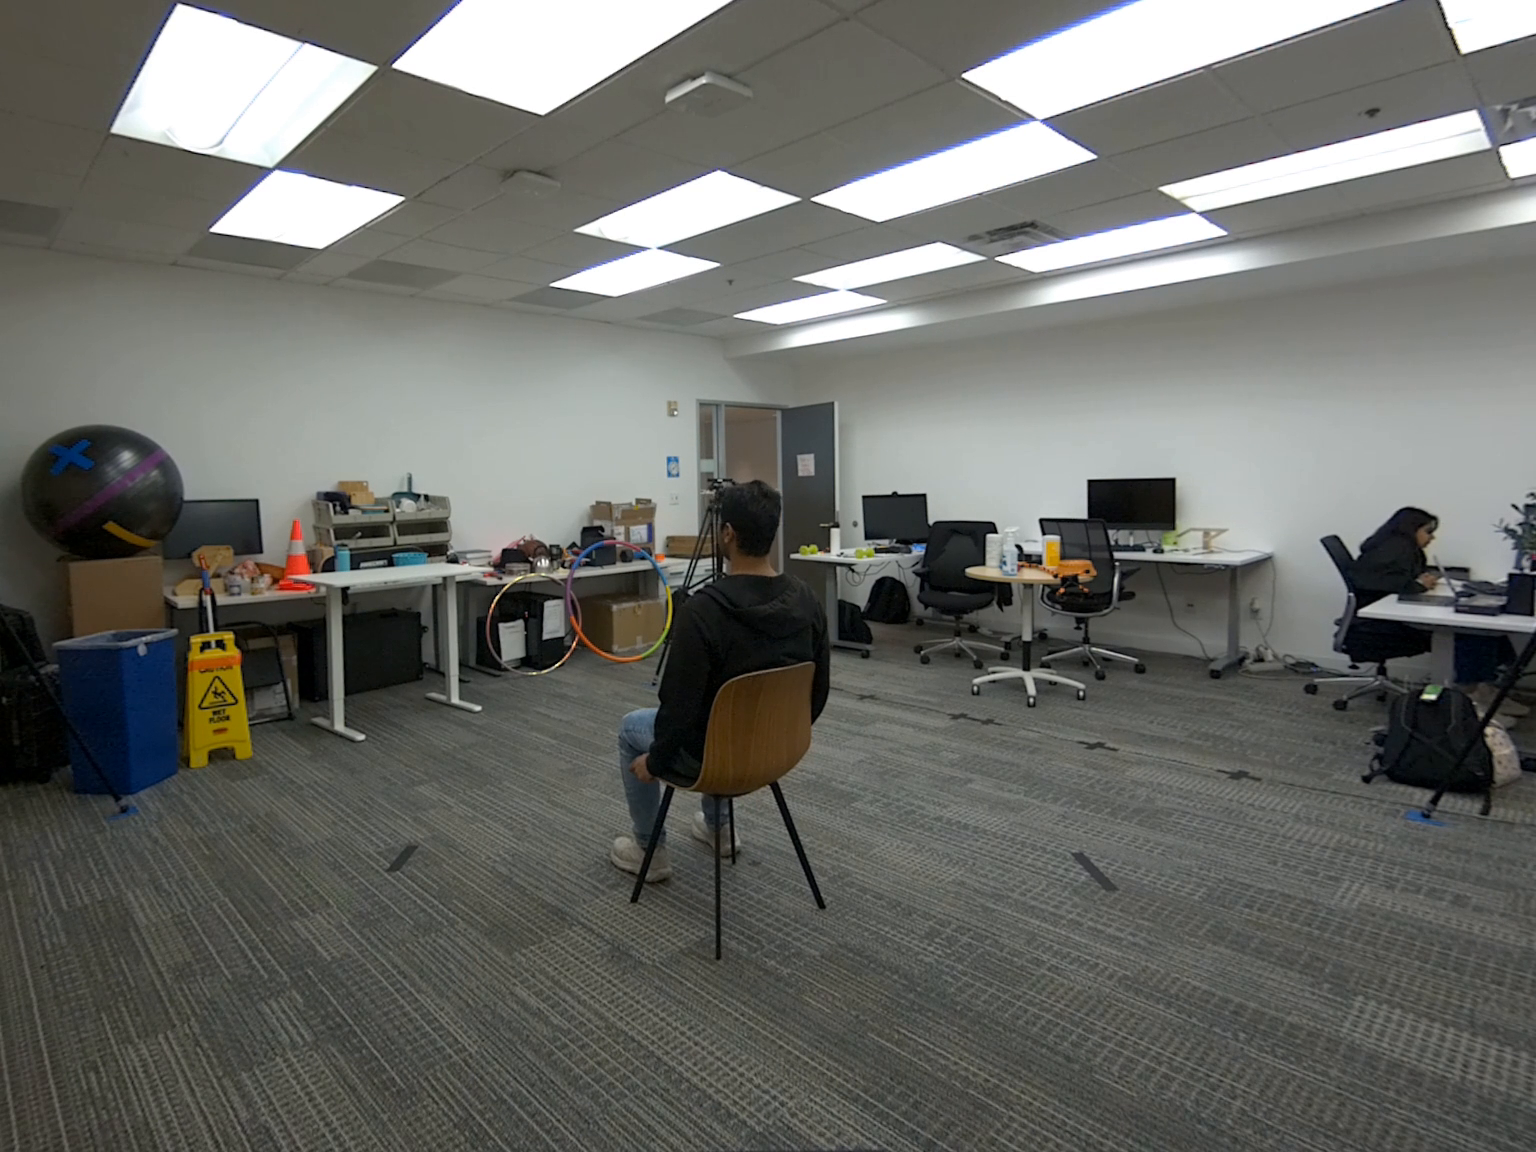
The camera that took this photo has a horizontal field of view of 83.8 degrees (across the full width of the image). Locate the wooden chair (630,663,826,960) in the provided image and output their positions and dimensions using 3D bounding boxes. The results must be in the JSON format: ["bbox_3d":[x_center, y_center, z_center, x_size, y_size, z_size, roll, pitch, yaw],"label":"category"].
[{"bbox_3d":[-0.149,0.659,2.773,0.466,0.871,0.541,-5,11,-41],"label":"wooden chair"}]
